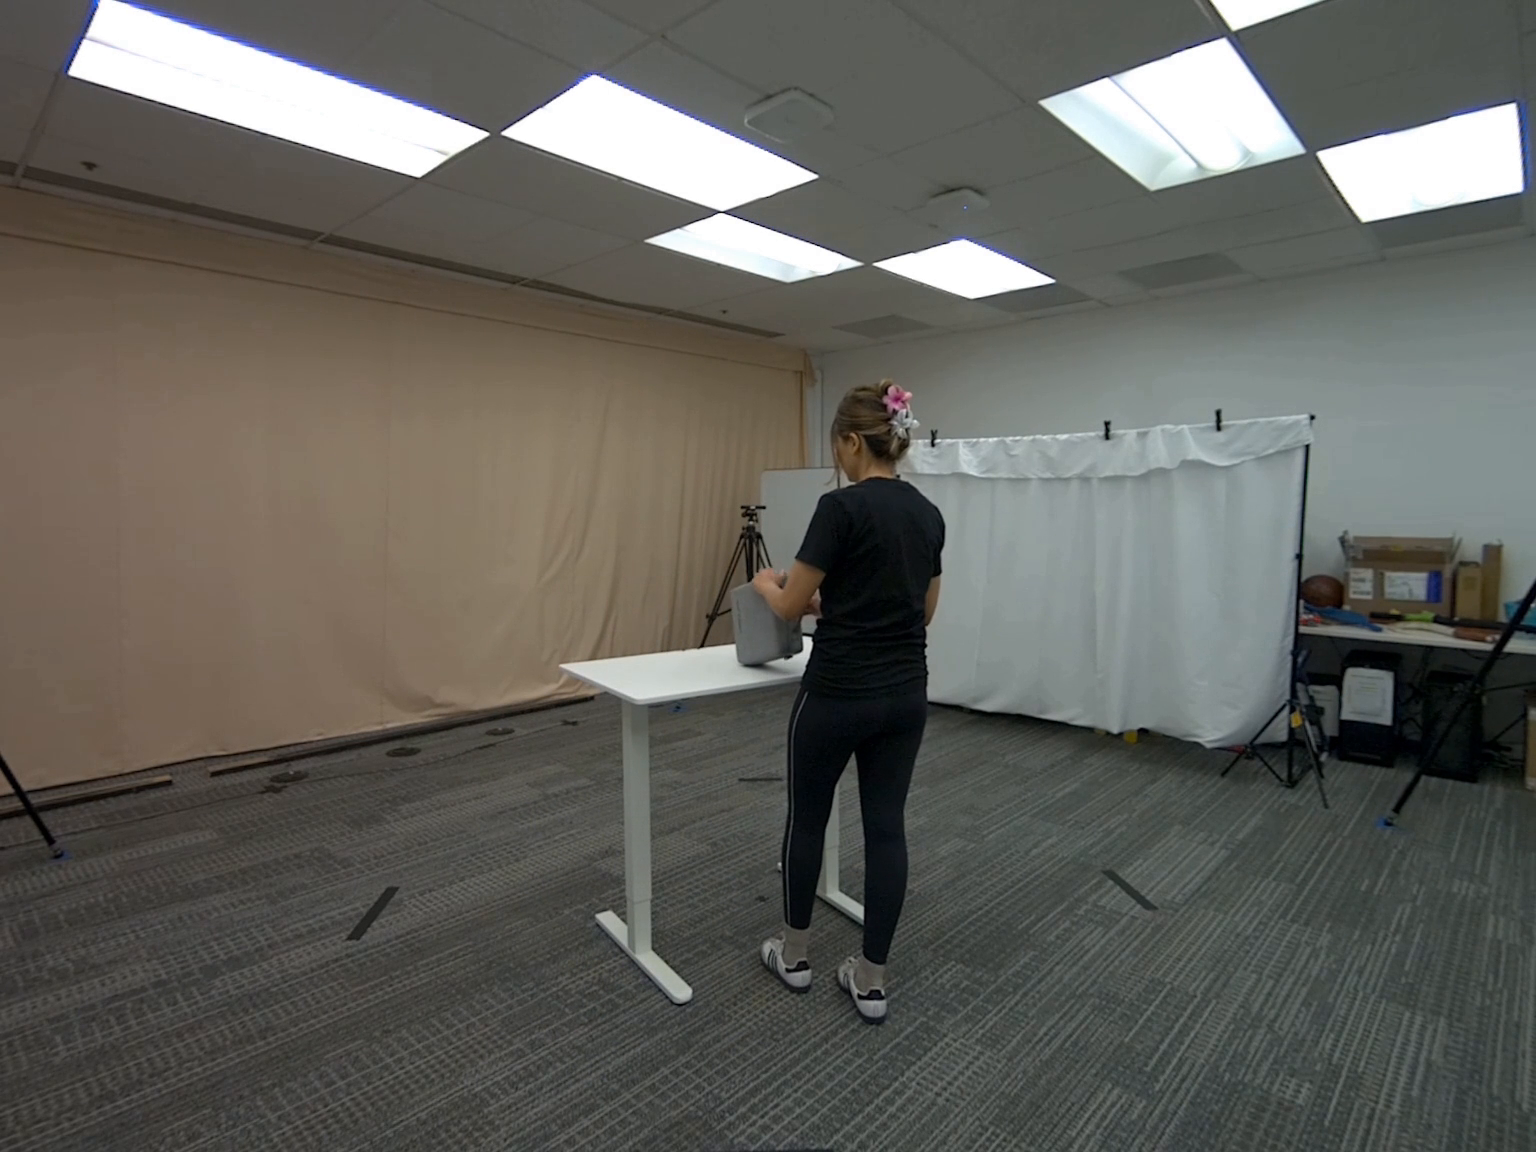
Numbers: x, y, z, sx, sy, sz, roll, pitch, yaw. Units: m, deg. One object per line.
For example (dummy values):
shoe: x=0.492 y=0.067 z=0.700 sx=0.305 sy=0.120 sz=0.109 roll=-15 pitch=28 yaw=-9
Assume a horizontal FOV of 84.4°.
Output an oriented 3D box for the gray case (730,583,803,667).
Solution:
gray case: x=-0.003 y=0.138 z=2.630 sx=0.101 sy=0.259 sz=0.266 roll=1 pitch=-14 yaw=-32
